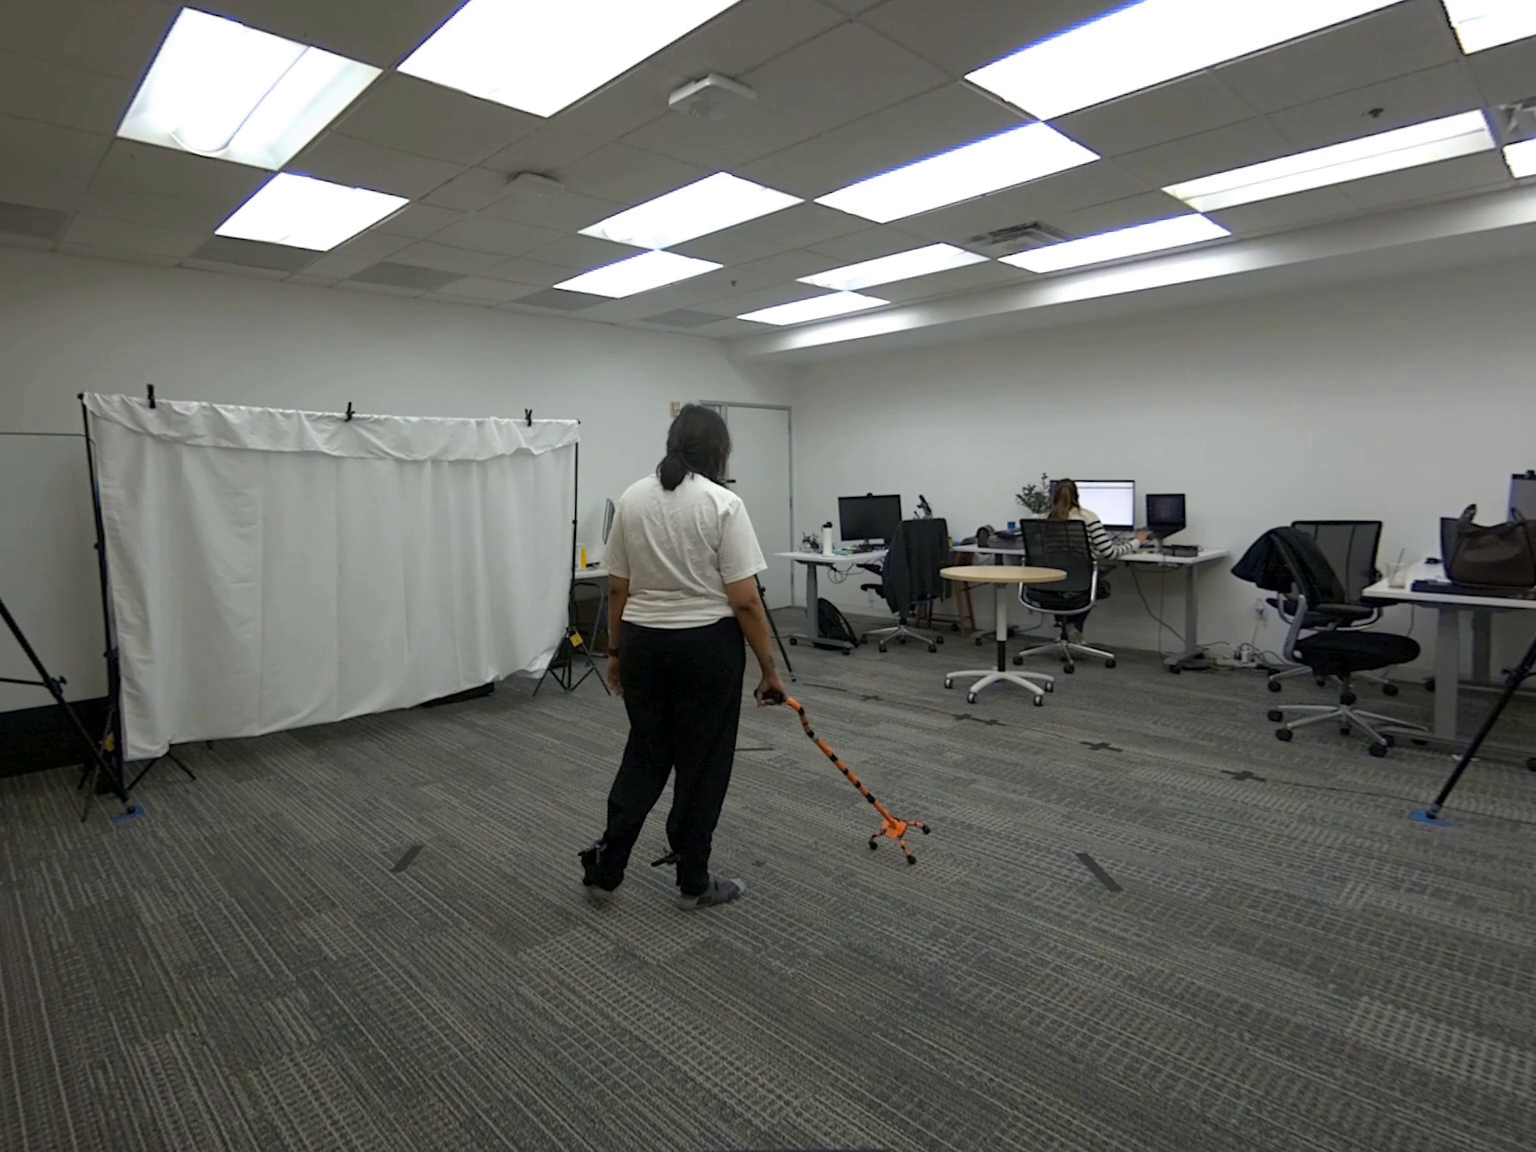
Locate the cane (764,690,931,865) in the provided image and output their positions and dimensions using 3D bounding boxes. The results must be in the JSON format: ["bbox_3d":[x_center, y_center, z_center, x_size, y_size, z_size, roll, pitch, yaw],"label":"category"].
[{"bbox_3d":[0.255,0.689,2.964,0.212,0.152,0.878,1,-41,49],"label":"cane"}]
